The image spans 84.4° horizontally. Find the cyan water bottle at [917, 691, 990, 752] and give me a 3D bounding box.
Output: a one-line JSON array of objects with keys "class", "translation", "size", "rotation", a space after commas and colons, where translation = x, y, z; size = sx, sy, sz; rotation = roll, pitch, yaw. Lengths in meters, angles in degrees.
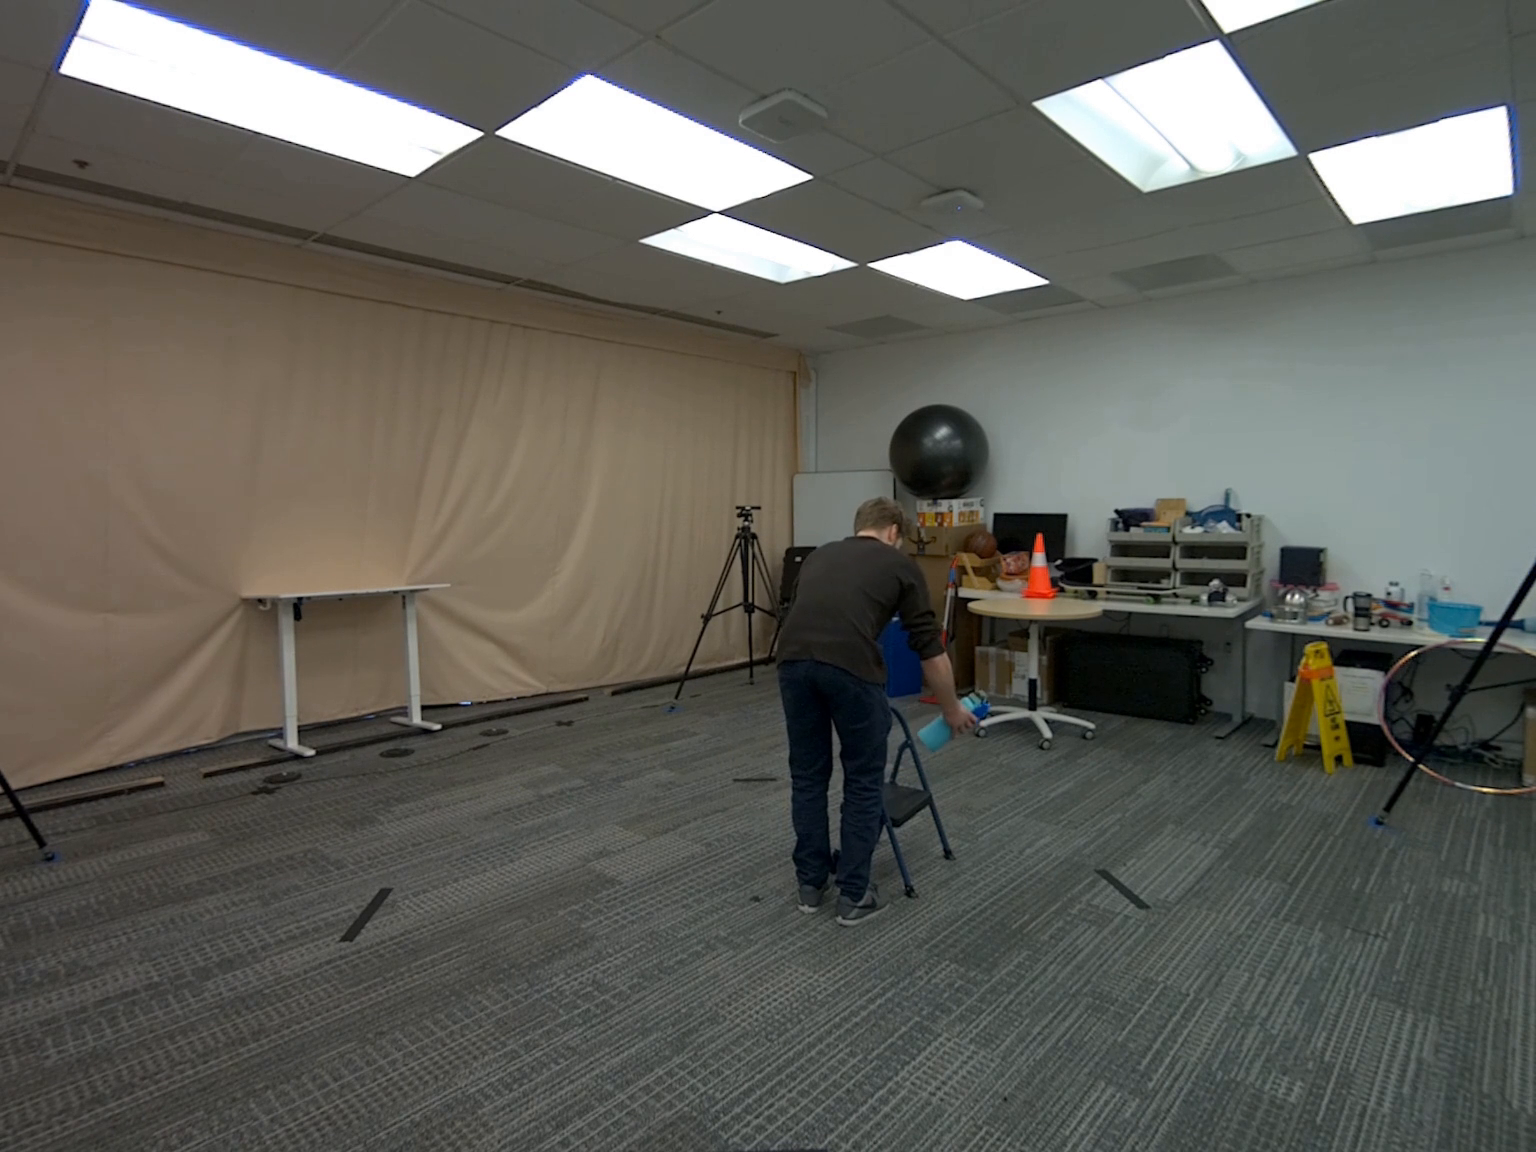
[{"class": "cyan water bottle", "translation": [0.687, 0.524, 3.075], "size": [0.284, 0.092, 0.092], "rotation": [-37, -1, 9]}]
